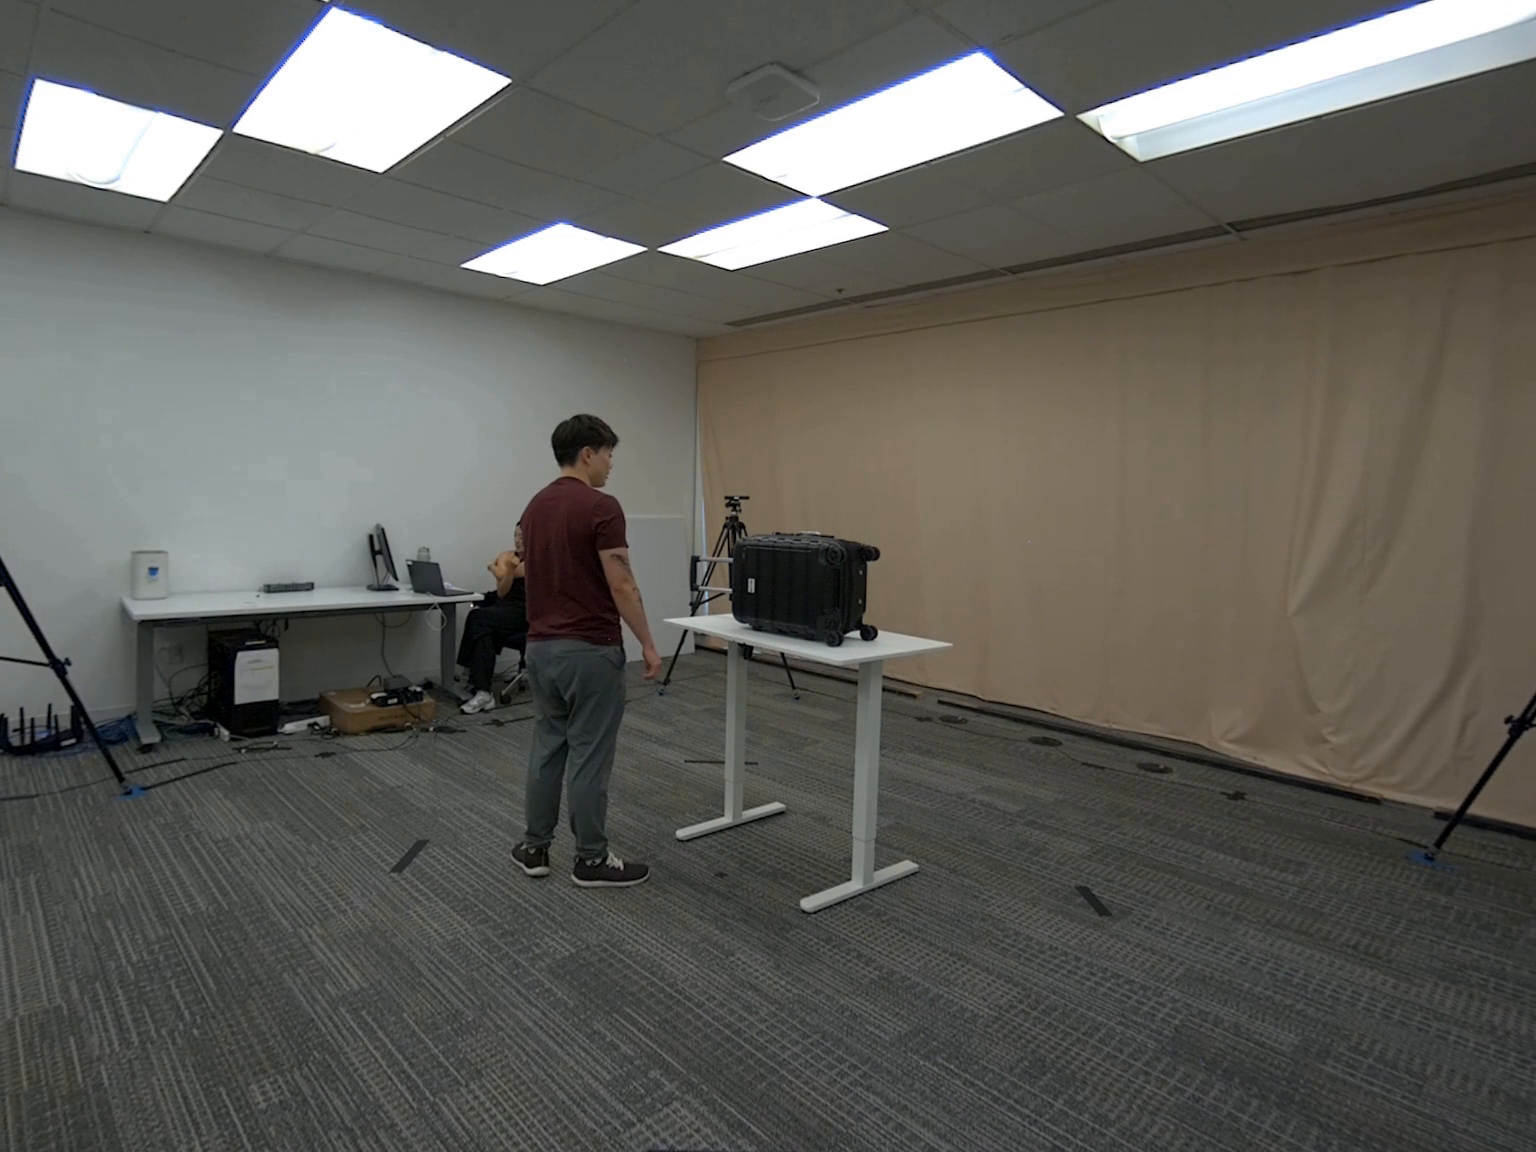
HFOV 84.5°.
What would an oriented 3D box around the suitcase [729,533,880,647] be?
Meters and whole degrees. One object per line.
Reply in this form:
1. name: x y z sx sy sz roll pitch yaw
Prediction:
1. suitcase: -0.039 0.021 3.324 1.004 0.382 0.251 6 7 41
